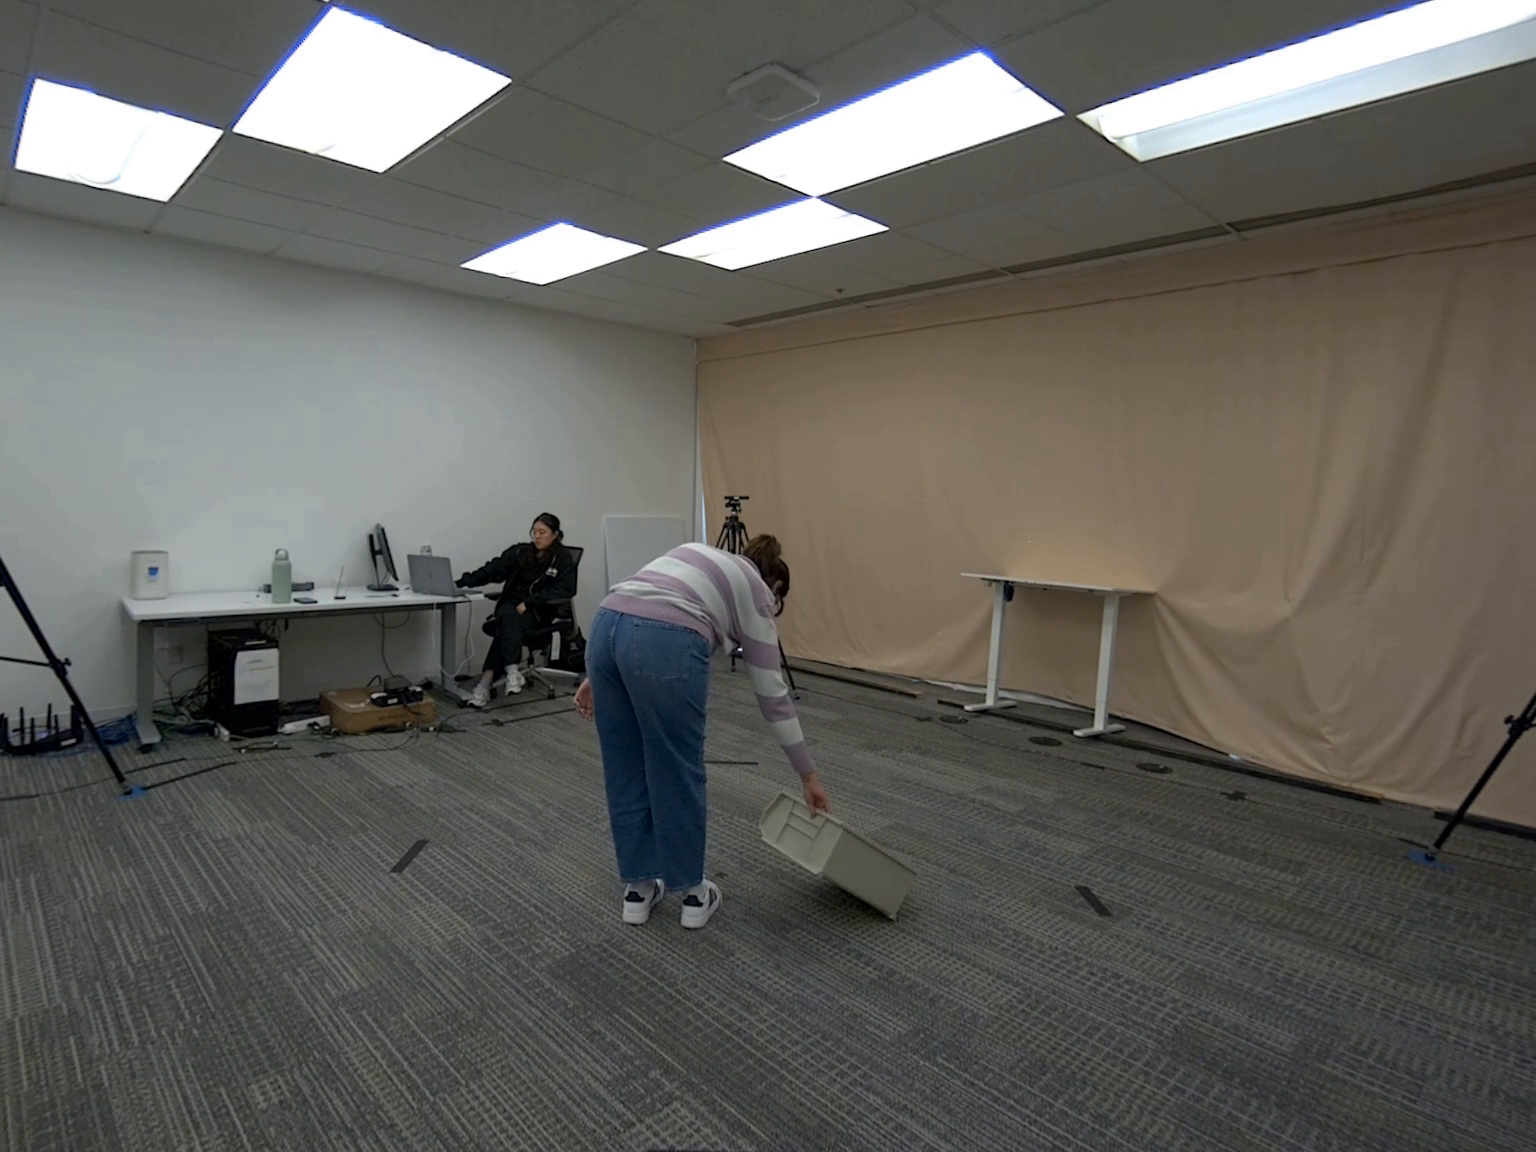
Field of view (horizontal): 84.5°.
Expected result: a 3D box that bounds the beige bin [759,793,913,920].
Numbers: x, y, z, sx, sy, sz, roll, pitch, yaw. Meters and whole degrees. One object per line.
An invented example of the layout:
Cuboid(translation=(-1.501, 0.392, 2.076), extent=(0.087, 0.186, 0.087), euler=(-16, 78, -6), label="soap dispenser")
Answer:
Cuboid(translation=(0.218, 0.942, 2.869), extent=(0.411, 0.189, 0.386), euler=(39, -16, -29), label="beige bin")
